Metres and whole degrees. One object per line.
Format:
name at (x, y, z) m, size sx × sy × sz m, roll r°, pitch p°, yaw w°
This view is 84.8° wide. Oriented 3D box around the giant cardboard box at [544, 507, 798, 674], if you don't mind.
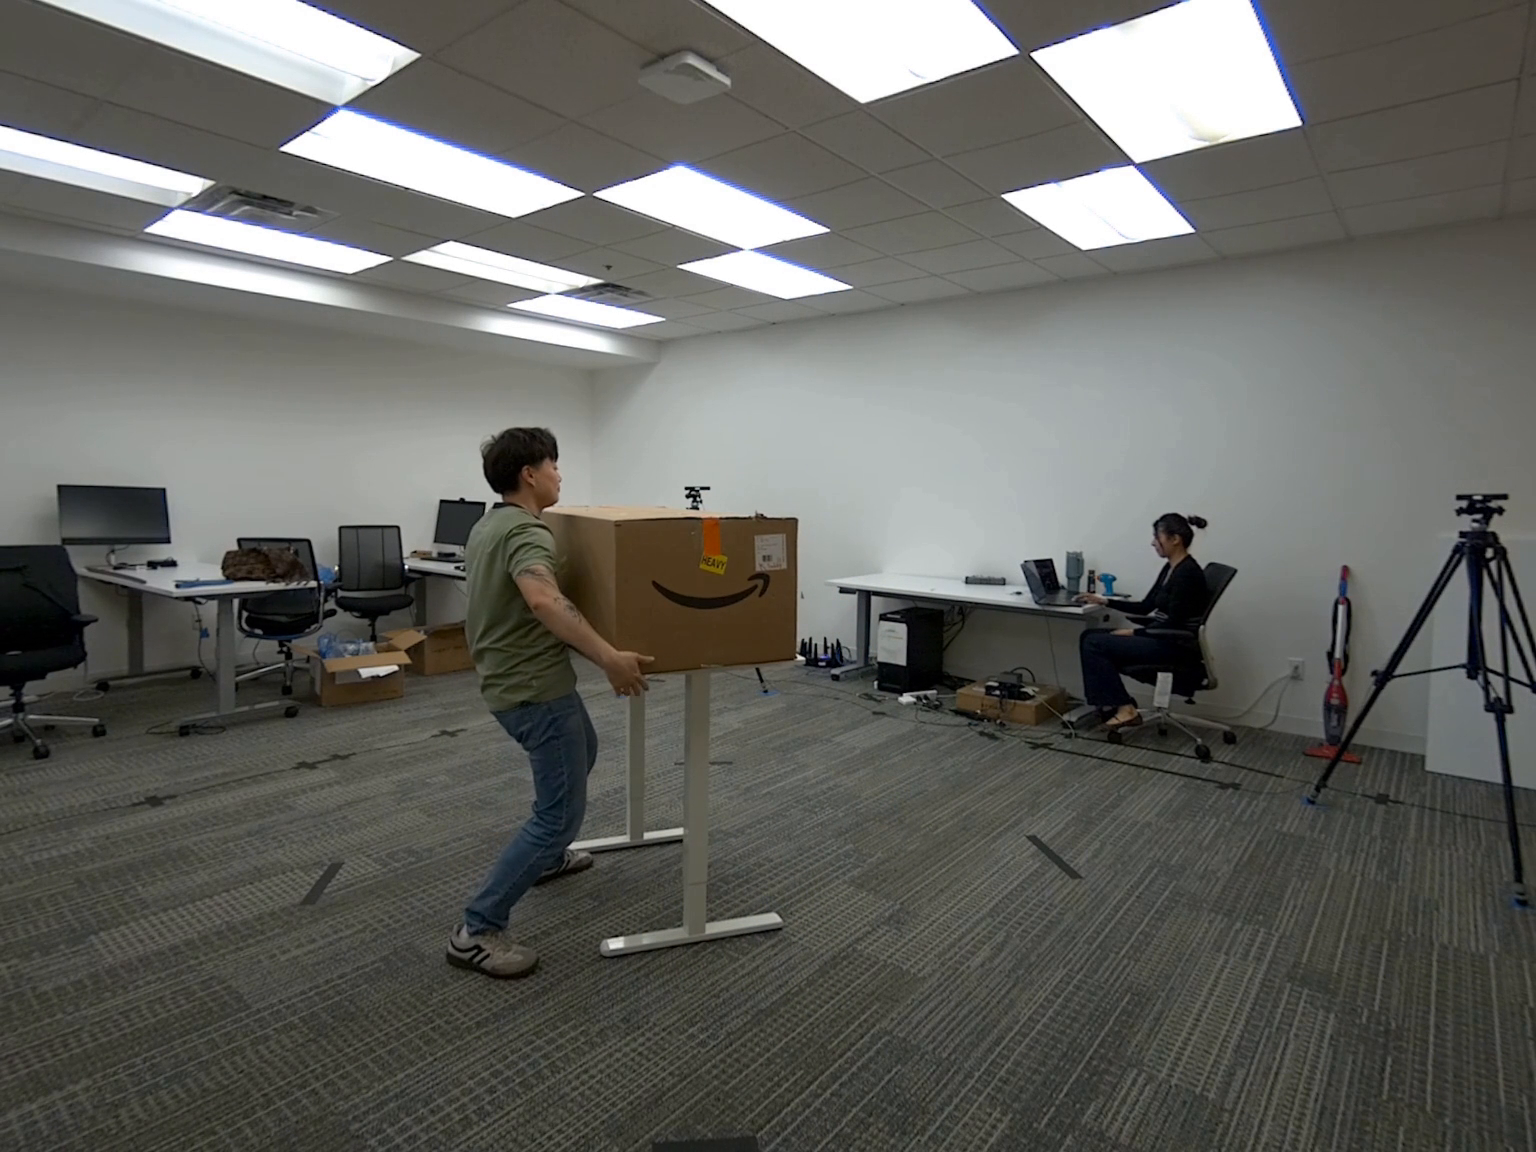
giant cardboard box at (-0.415, -0.007, 2.843) m, size 0.563 × 0.424 × 1.056 m, roll -3°, pitch 7°, yaw -28°
